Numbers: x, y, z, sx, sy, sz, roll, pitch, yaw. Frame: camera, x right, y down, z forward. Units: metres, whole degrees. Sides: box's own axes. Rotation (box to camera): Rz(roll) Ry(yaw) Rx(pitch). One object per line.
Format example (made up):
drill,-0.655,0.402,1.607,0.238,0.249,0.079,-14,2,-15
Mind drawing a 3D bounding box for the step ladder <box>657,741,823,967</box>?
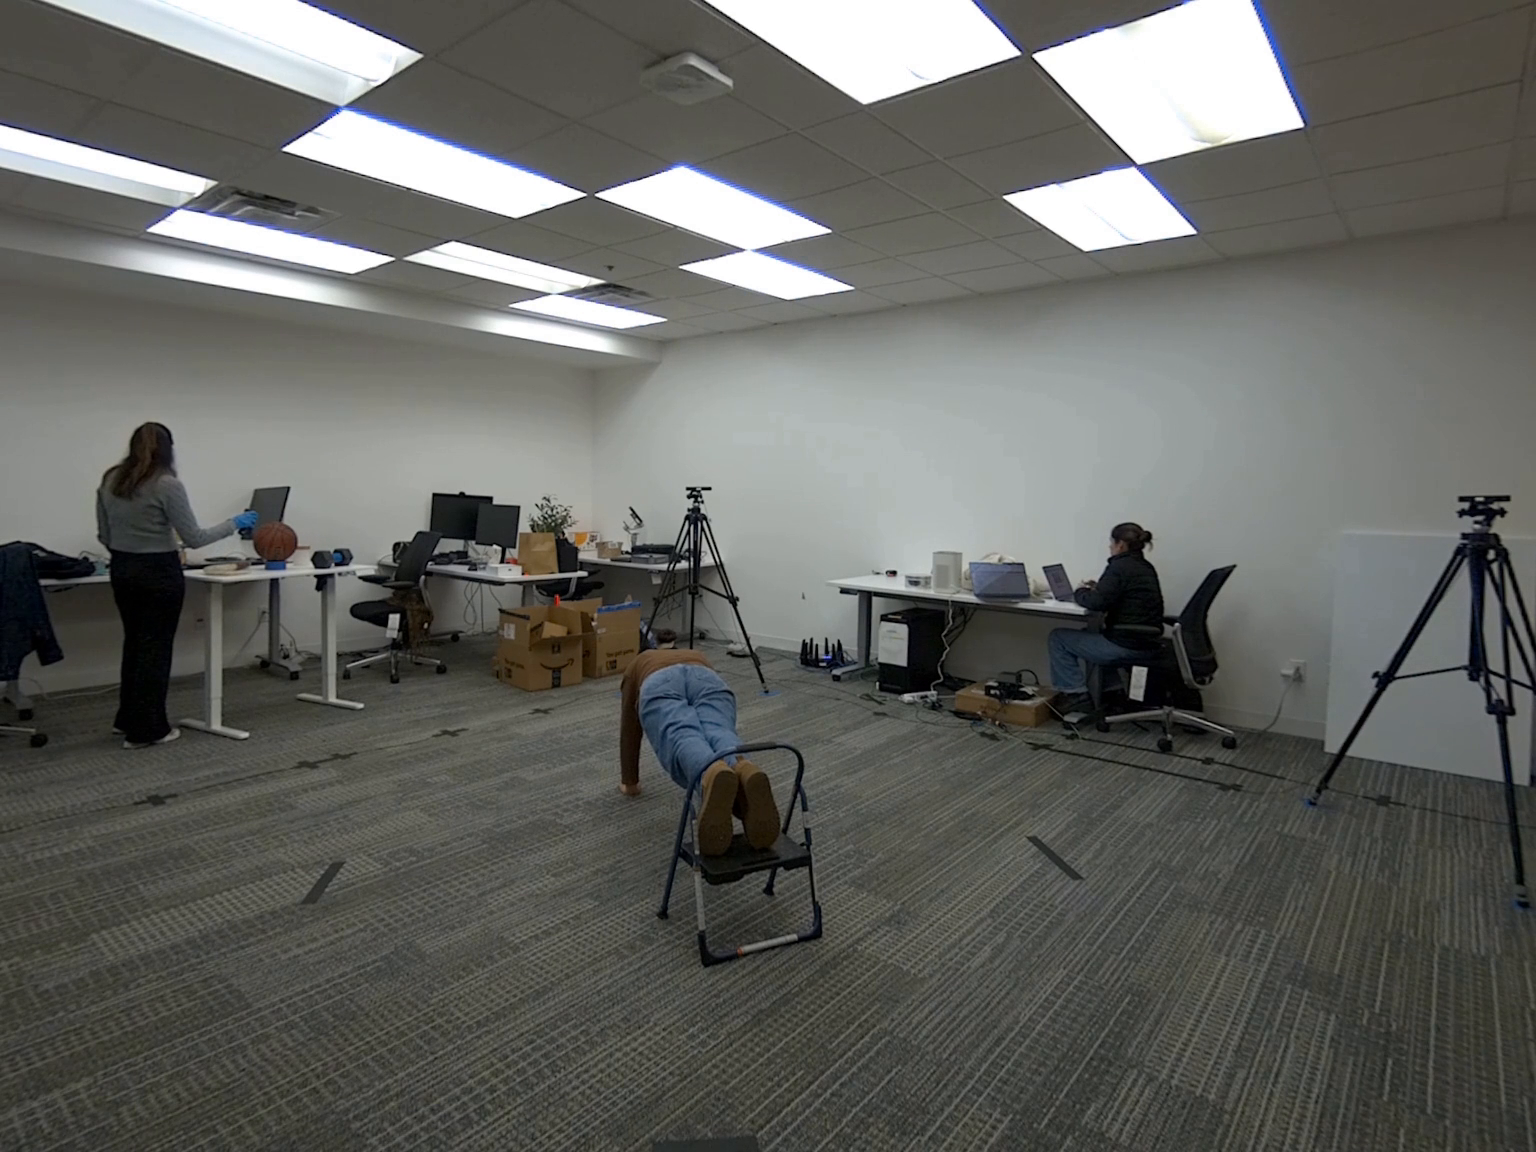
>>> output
step ladder,-0.091,0.809,2.687,0.419,0.604,0.360,-1,4,-29
